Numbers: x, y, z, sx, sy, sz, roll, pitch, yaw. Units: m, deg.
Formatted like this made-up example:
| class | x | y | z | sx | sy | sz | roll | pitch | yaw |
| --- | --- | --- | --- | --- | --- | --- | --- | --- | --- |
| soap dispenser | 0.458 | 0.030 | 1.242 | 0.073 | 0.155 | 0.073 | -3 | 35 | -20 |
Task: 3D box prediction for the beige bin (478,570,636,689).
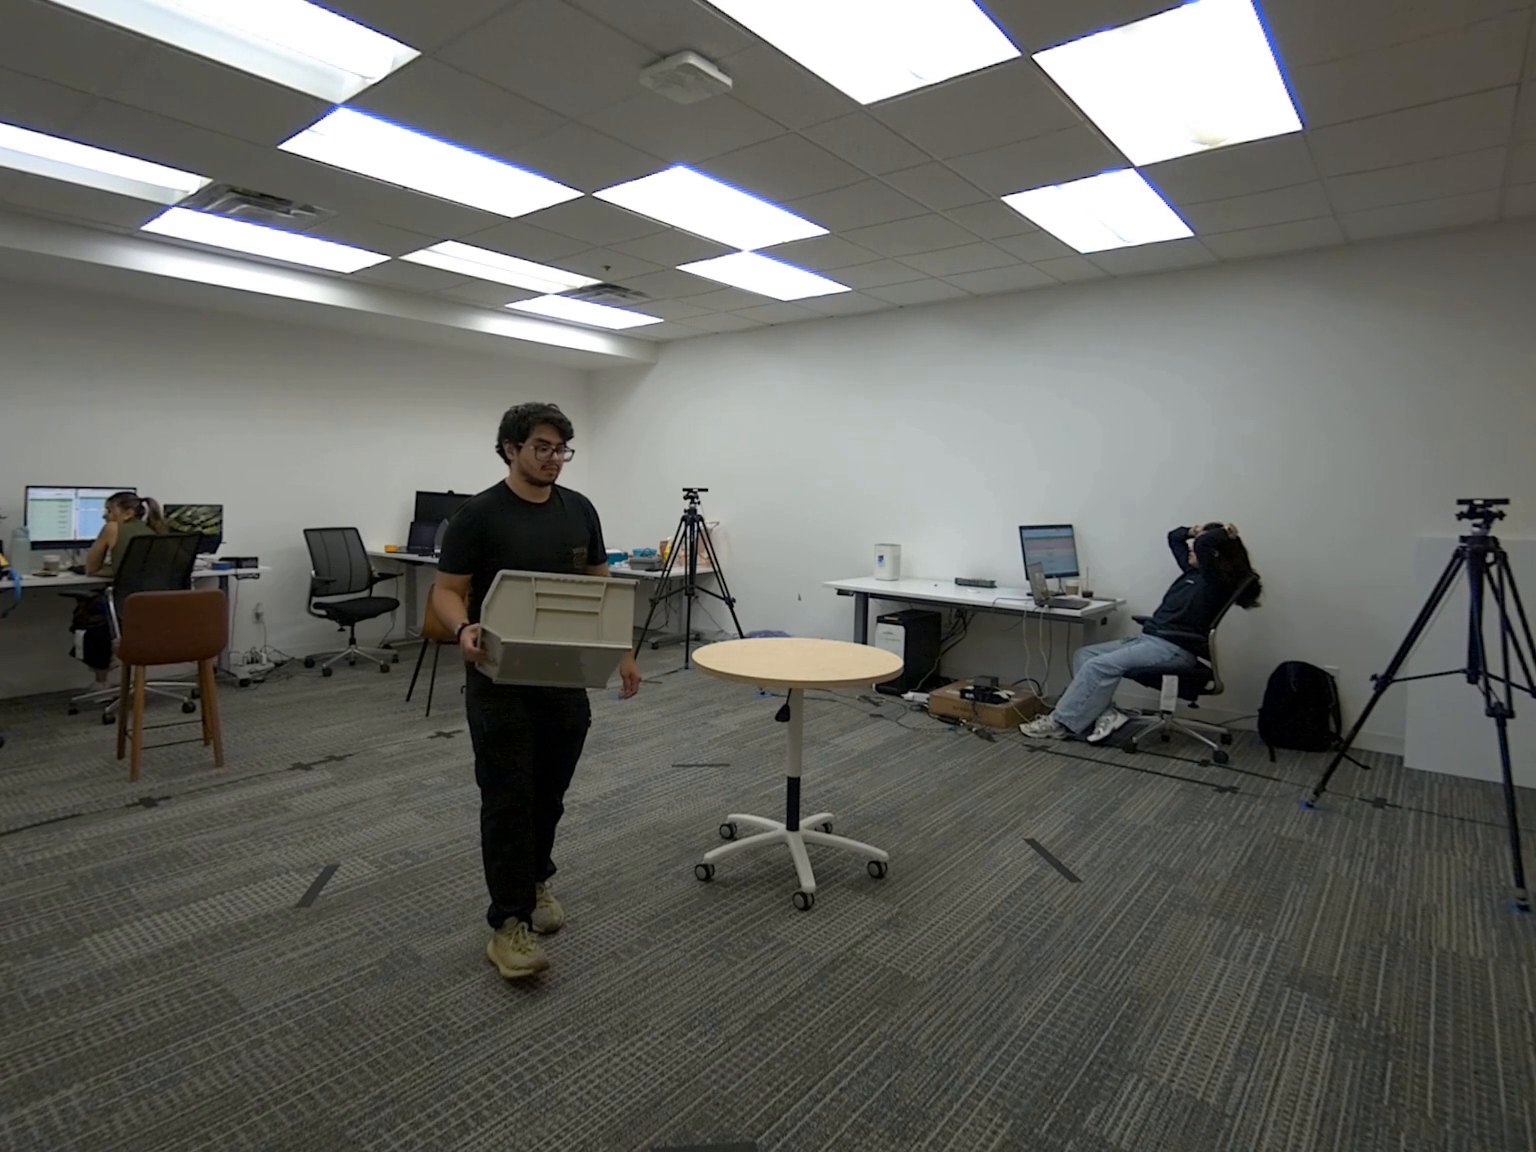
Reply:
| class | x | y | z | sx | sy | sz | roll | pitch | yaw |
| --- | --- | --- | --- | --- | --- | --- | --- | --- | --- |
| beige bin | -0.578 | 0.148 | 2.243 | 0.370 | 0.193 | 0.421 | 7 | -24 | -17 |
